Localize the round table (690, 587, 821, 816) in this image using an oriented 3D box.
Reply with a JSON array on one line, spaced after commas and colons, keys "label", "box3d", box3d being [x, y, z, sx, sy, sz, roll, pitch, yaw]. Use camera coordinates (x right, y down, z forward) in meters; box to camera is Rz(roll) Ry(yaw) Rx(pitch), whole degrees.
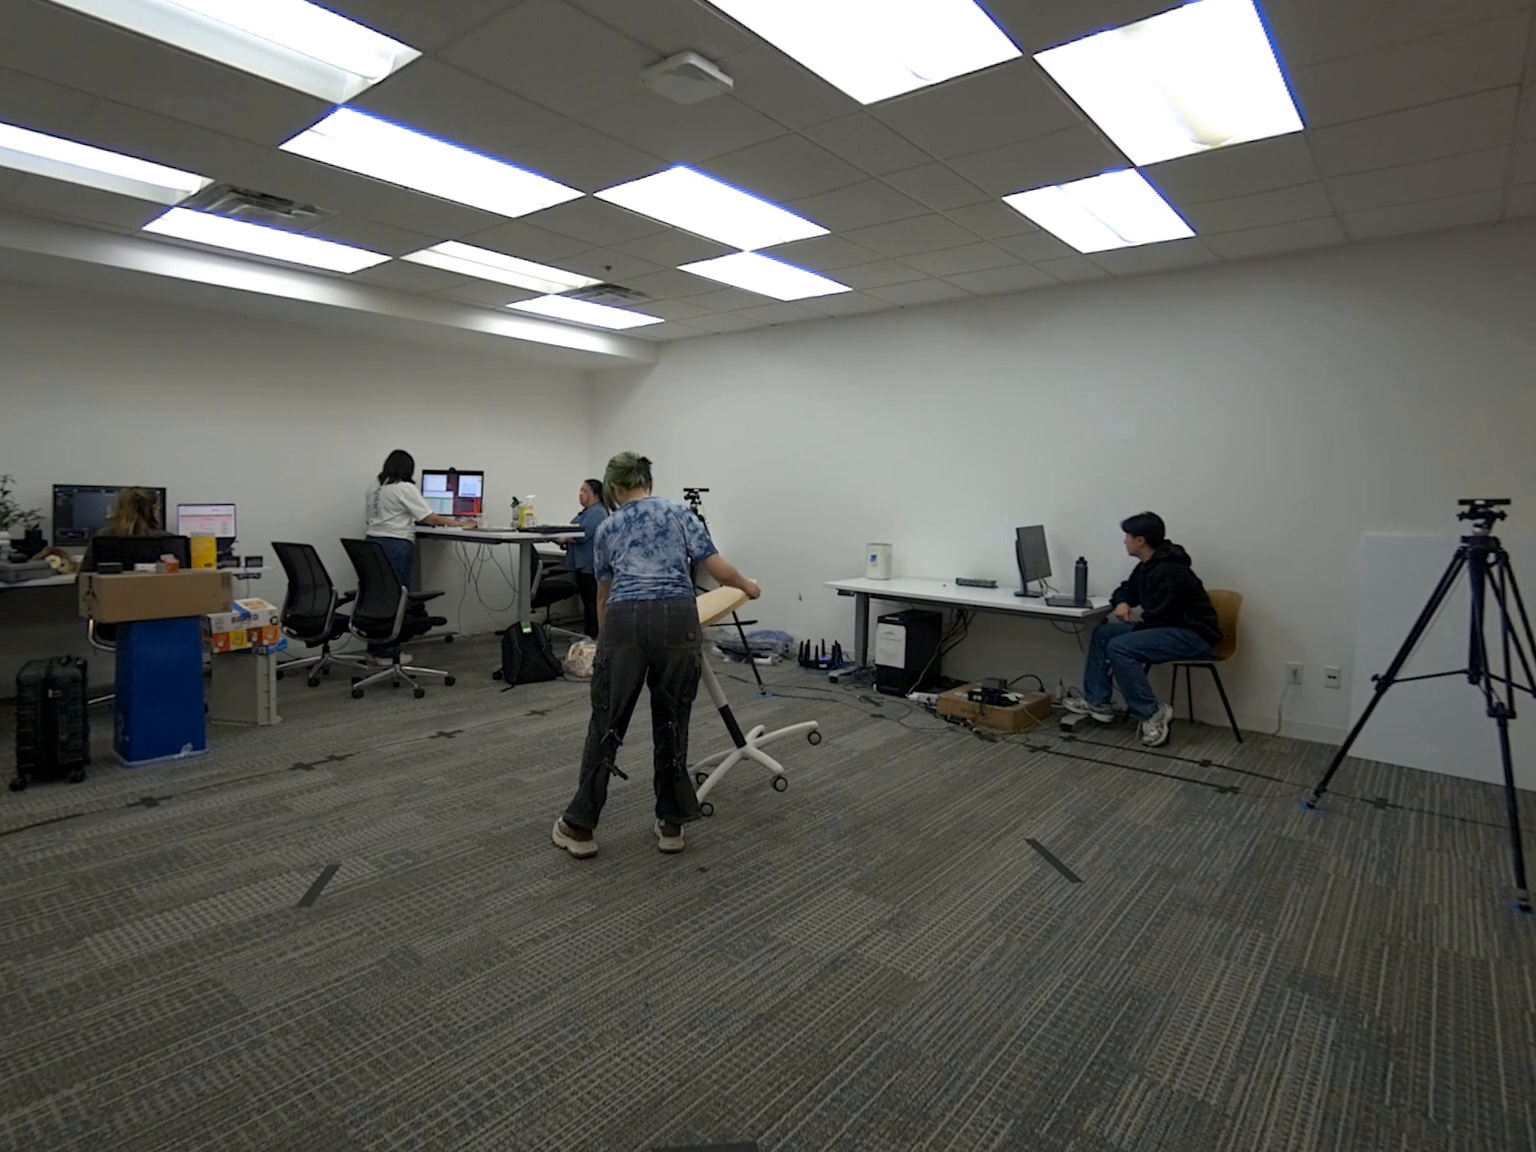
[{"label": "round table", "box3d": [-0.234, 0.538, 3.818, 0.764, 0.788, 0.769, -25, 6, 1]}]
